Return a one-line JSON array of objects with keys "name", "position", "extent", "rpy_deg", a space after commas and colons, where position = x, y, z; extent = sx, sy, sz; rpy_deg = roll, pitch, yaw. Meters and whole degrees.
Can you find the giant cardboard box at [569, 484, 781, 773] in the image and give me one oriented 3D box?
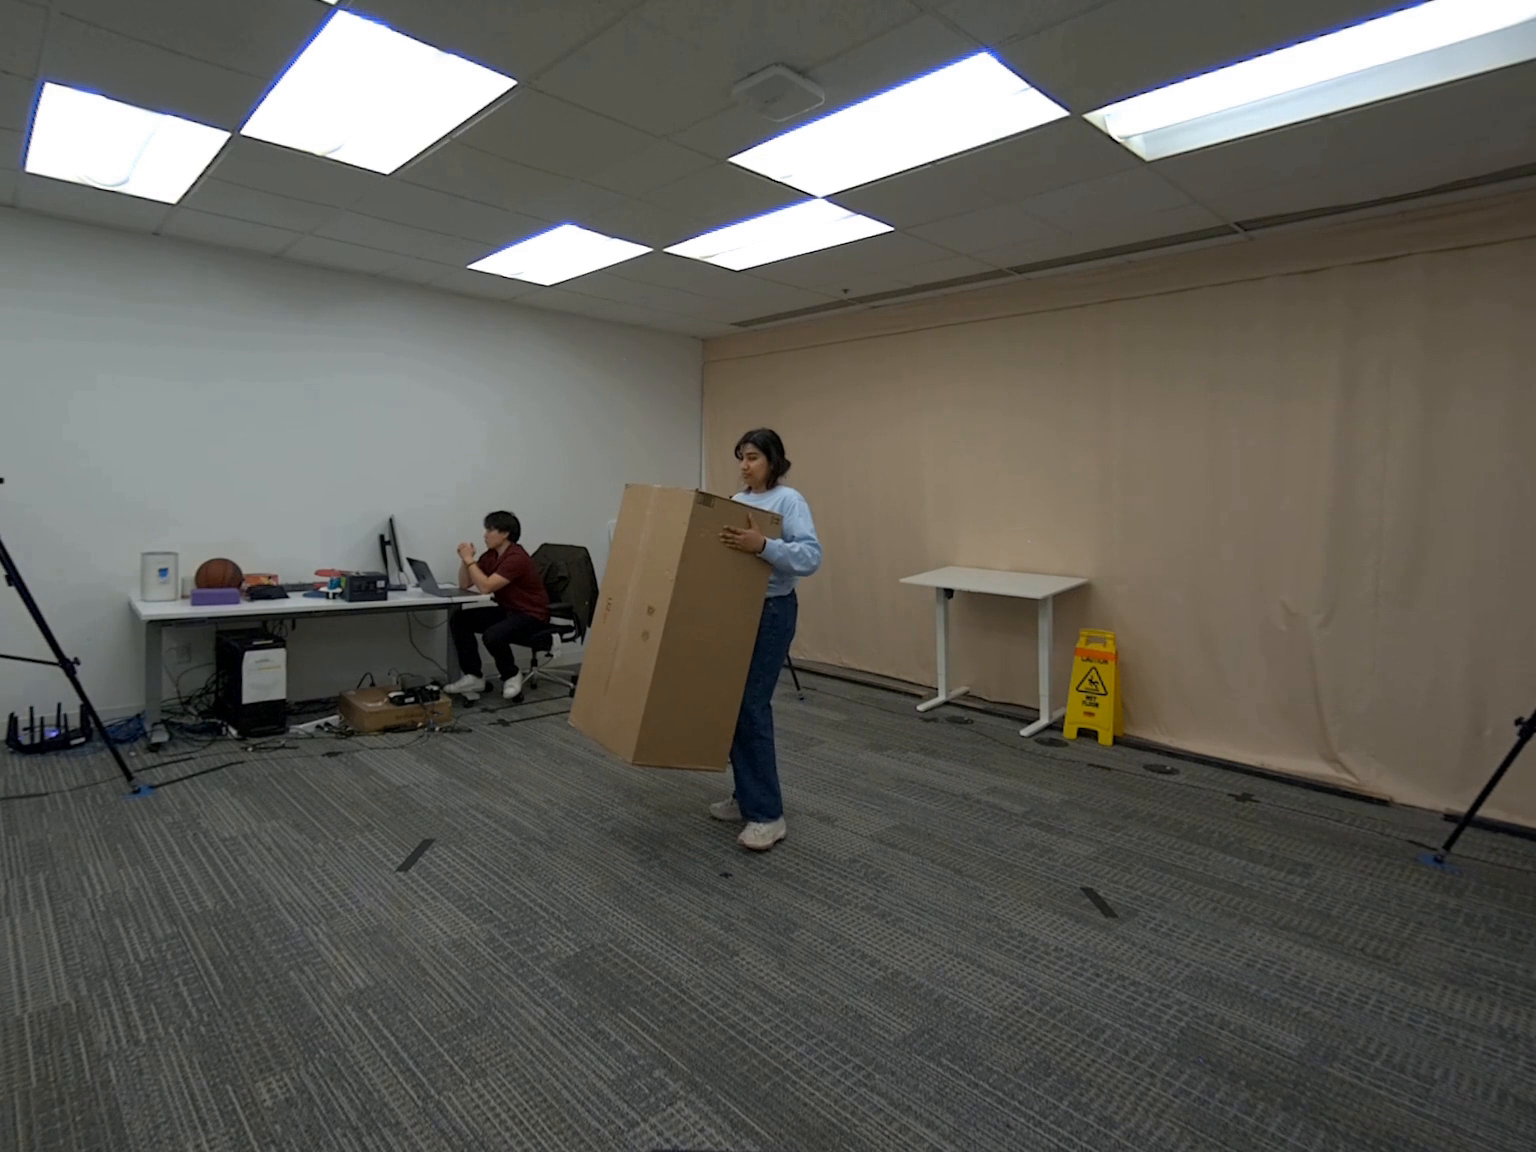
[{"name": "giant cardboard box", "position": [-0.386, 0.191, 3.369], "extent": [0.435, 1.028, 0.599], "rpy_deg": [15, -3, -34]}]
